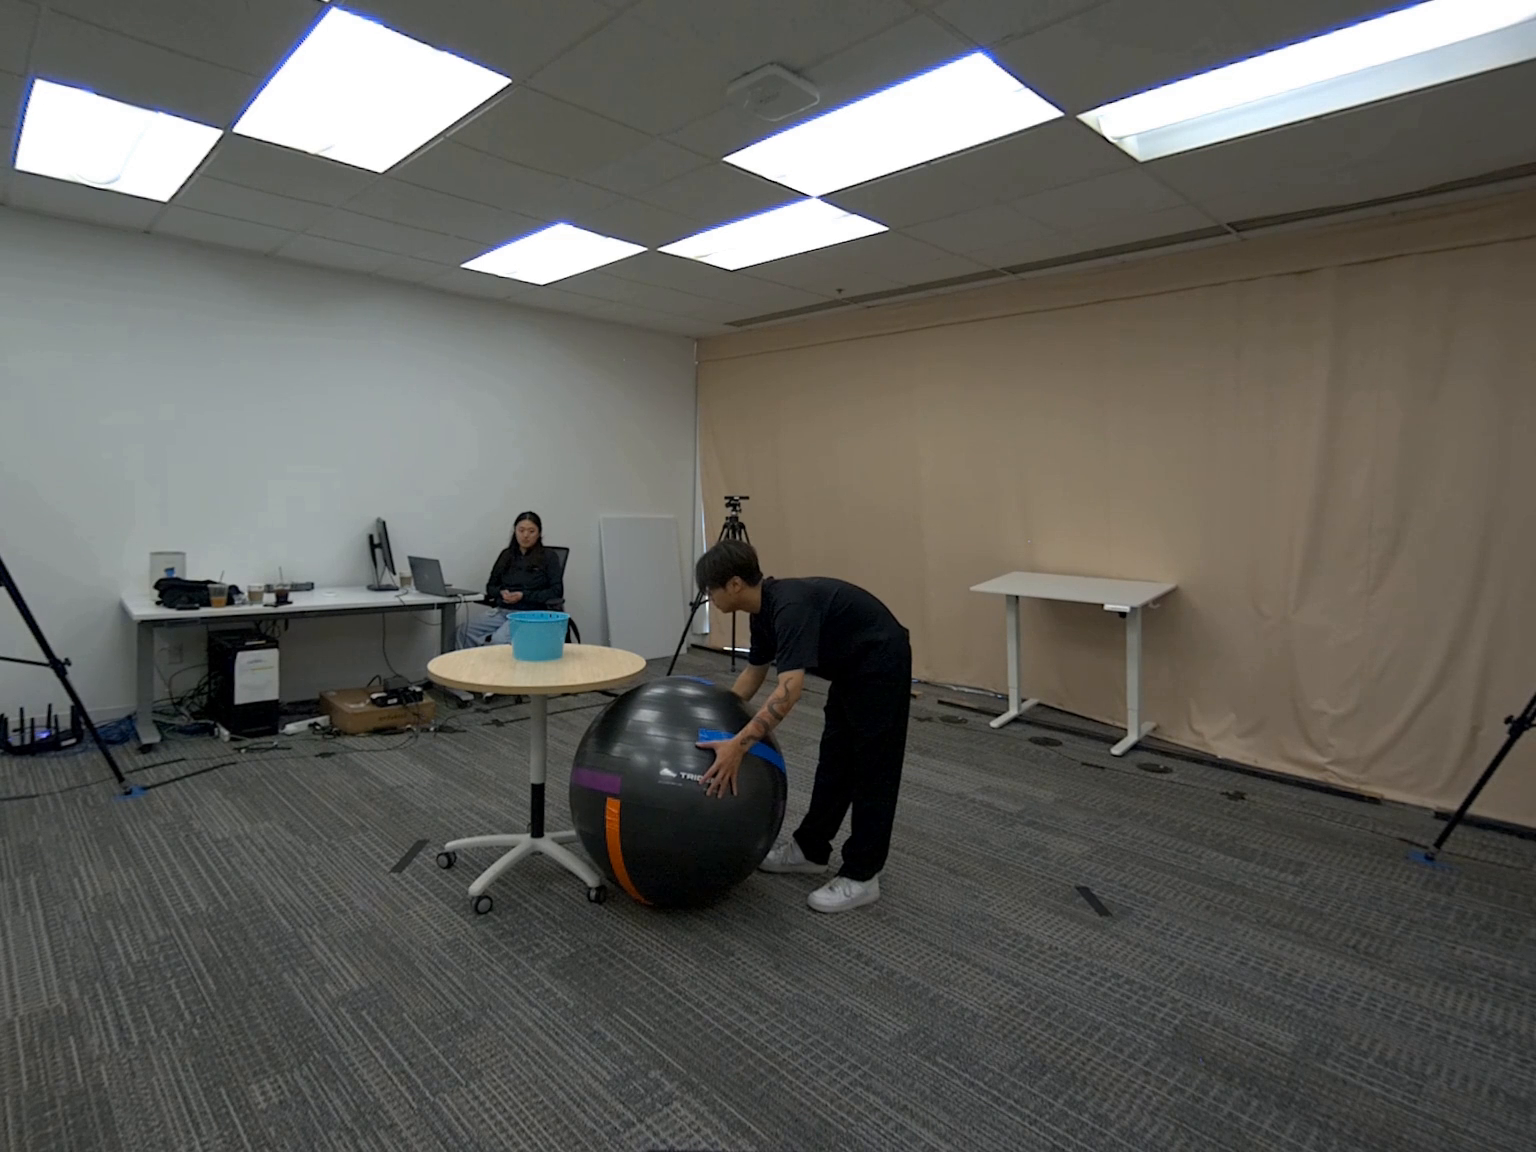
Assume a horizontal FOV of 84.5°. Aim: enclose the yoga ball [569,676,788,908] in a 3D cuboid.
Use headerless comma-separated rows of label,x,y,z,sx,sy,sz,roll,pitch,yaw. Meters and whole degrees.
yoga ball,-0.321,0.747,2.937,0.757,0.756,0.761,1,4,-1
